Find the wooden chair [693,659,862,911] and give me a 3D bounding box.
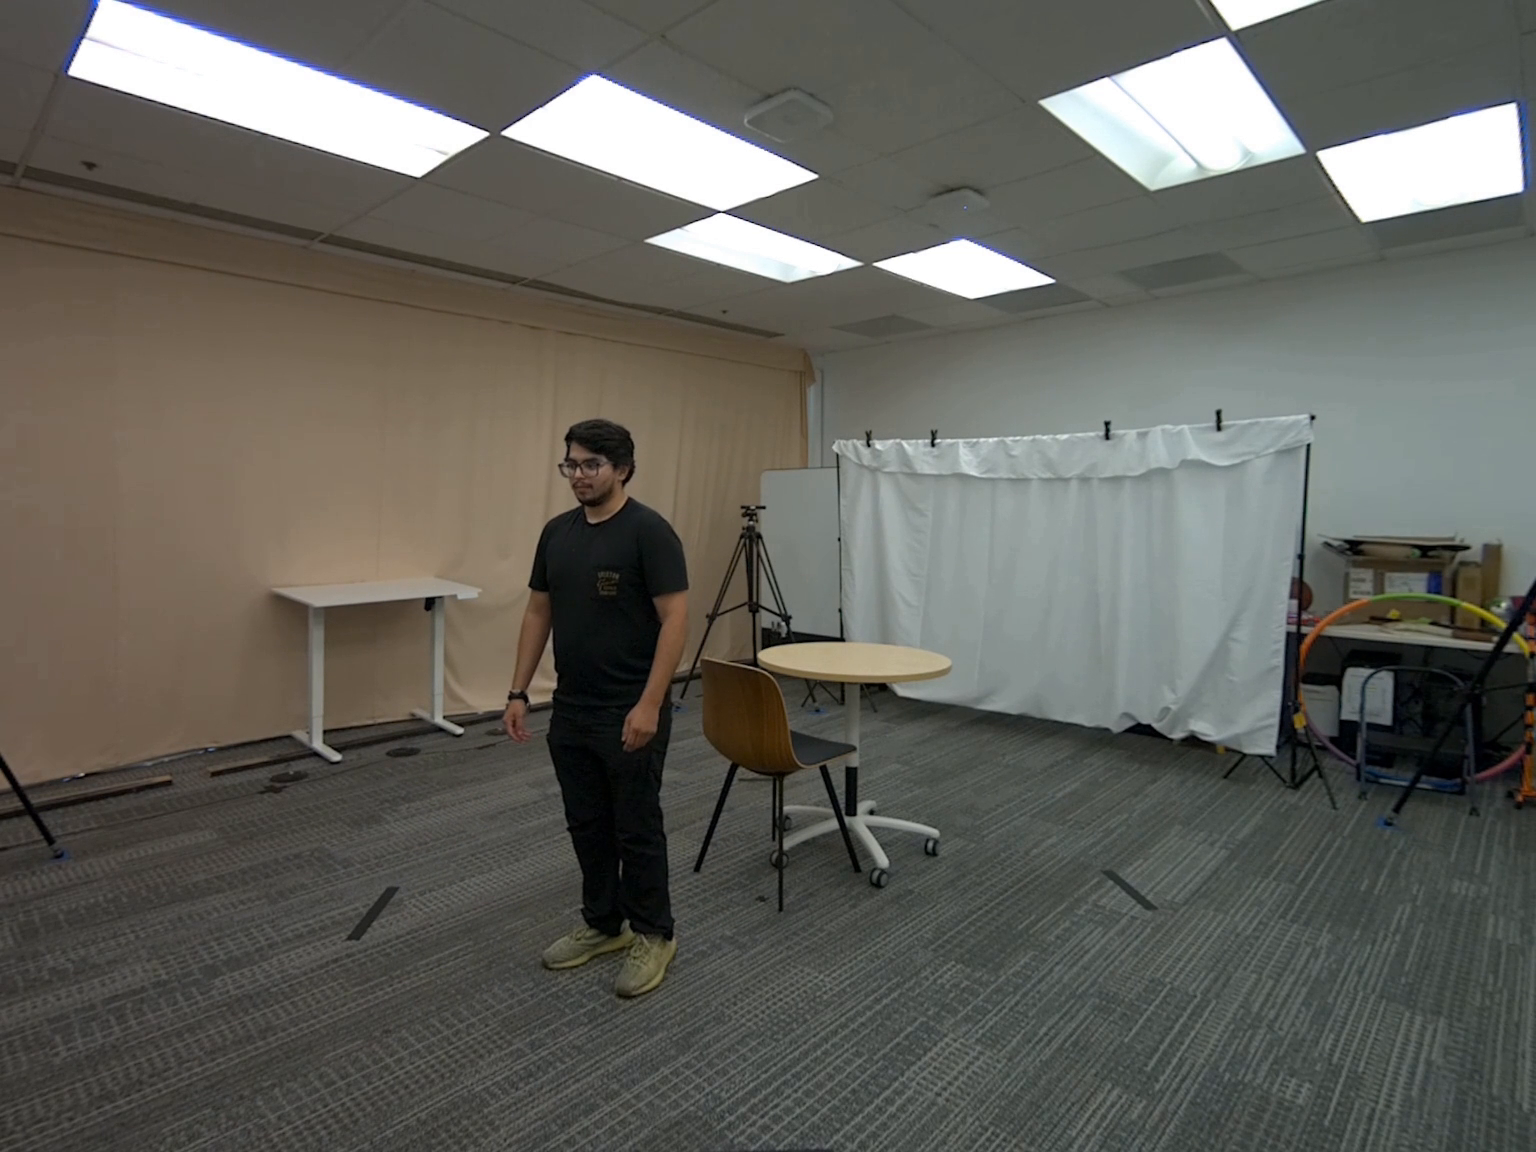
[{"bbox_3d":[0.045,0.700,3.169,0.508,0.874,0.494,-9,7,-44],"label":"wooden chair"}]
